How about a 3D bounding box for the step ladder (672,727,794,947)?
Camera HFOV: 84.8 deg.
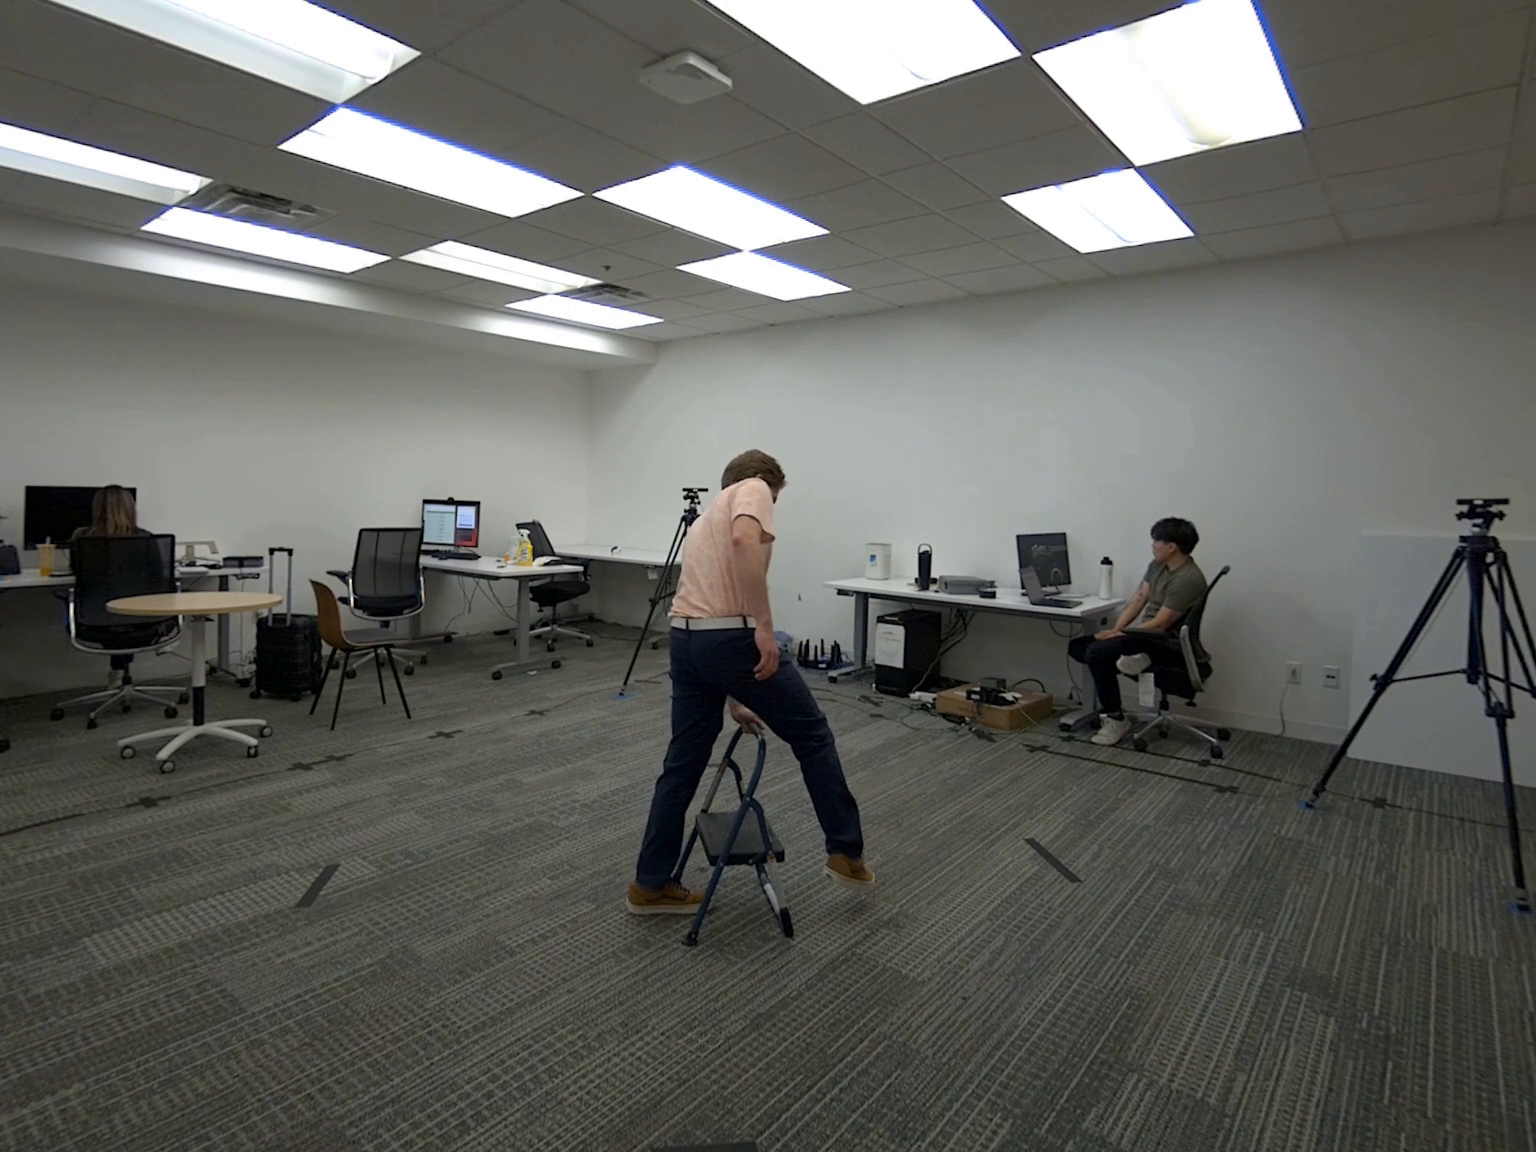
[{"bbox_3d":[-0.128,0.801,2.801,0.345,0.604,0.438,1,4,-12],"label":"step ladder"}]
